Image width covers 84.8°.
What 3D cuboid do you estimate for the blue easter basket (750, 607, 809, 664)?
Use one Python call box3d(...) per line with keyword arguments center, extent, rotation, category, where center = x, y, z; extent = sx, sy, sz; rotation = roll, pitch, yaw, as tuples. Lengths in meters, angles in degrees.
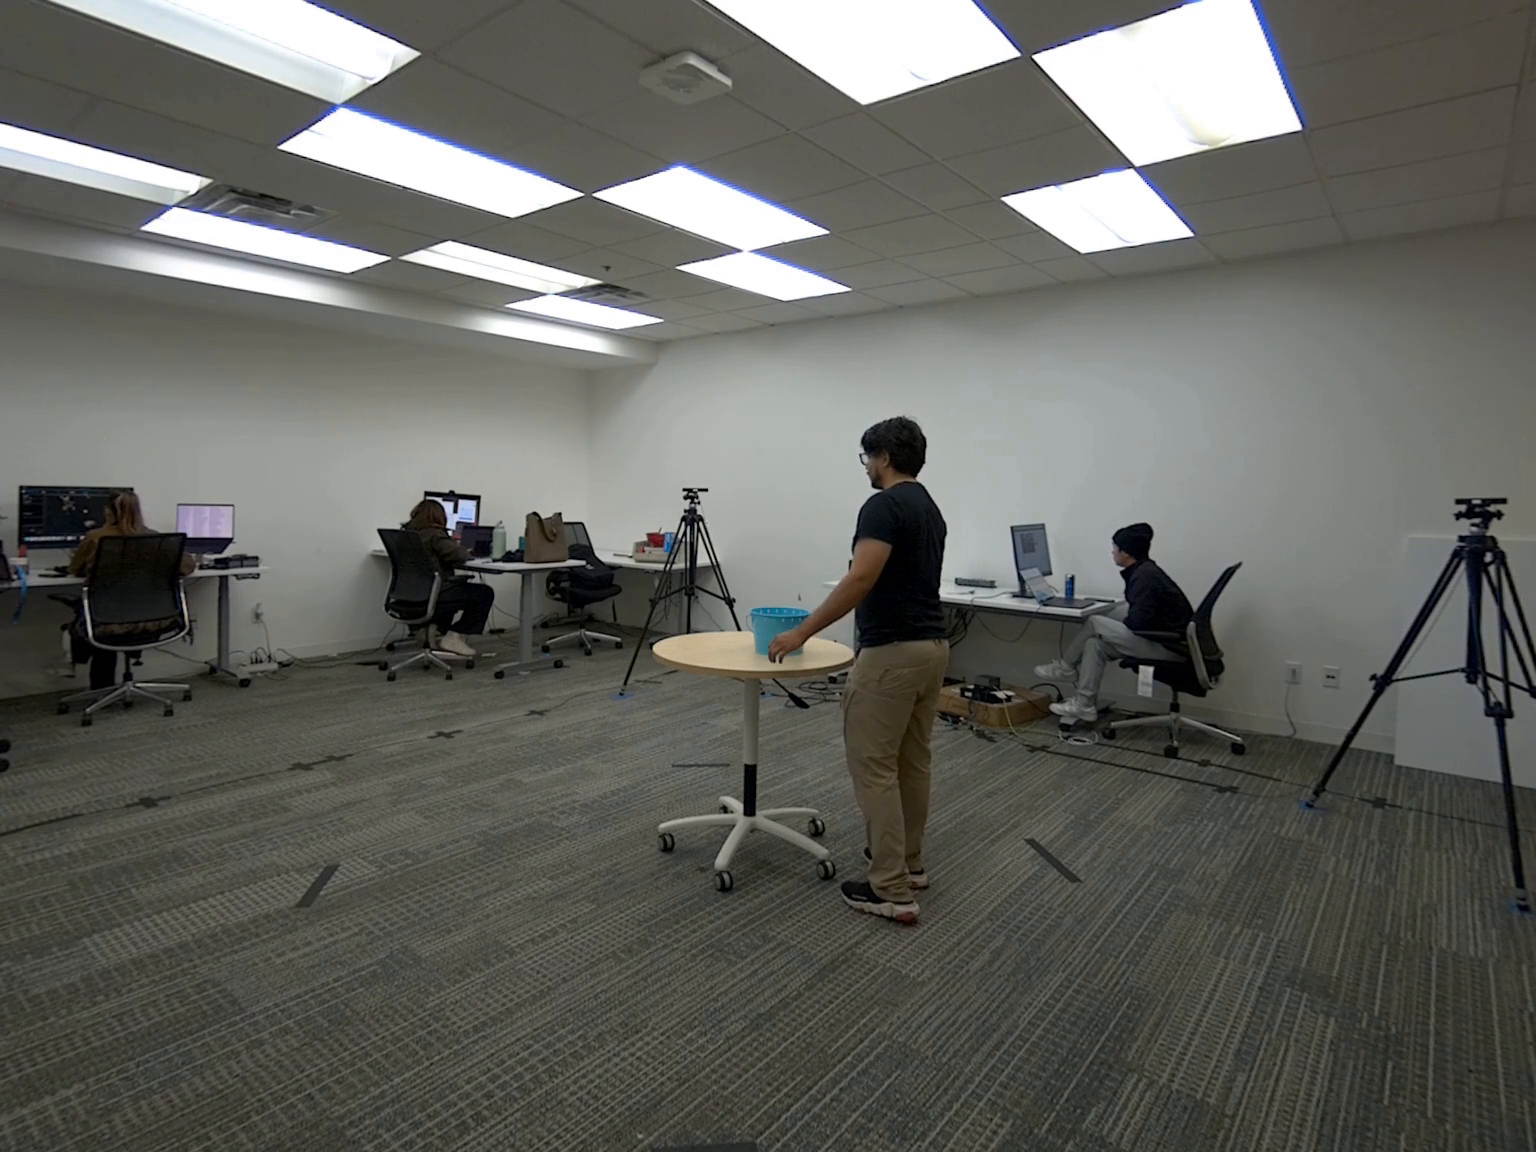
box3d(center=(0.038, 0.208, 3.218), extent=(0.243, 0.155, 0.245), rotation=(1, 5, -2), category="blue easter basket")
